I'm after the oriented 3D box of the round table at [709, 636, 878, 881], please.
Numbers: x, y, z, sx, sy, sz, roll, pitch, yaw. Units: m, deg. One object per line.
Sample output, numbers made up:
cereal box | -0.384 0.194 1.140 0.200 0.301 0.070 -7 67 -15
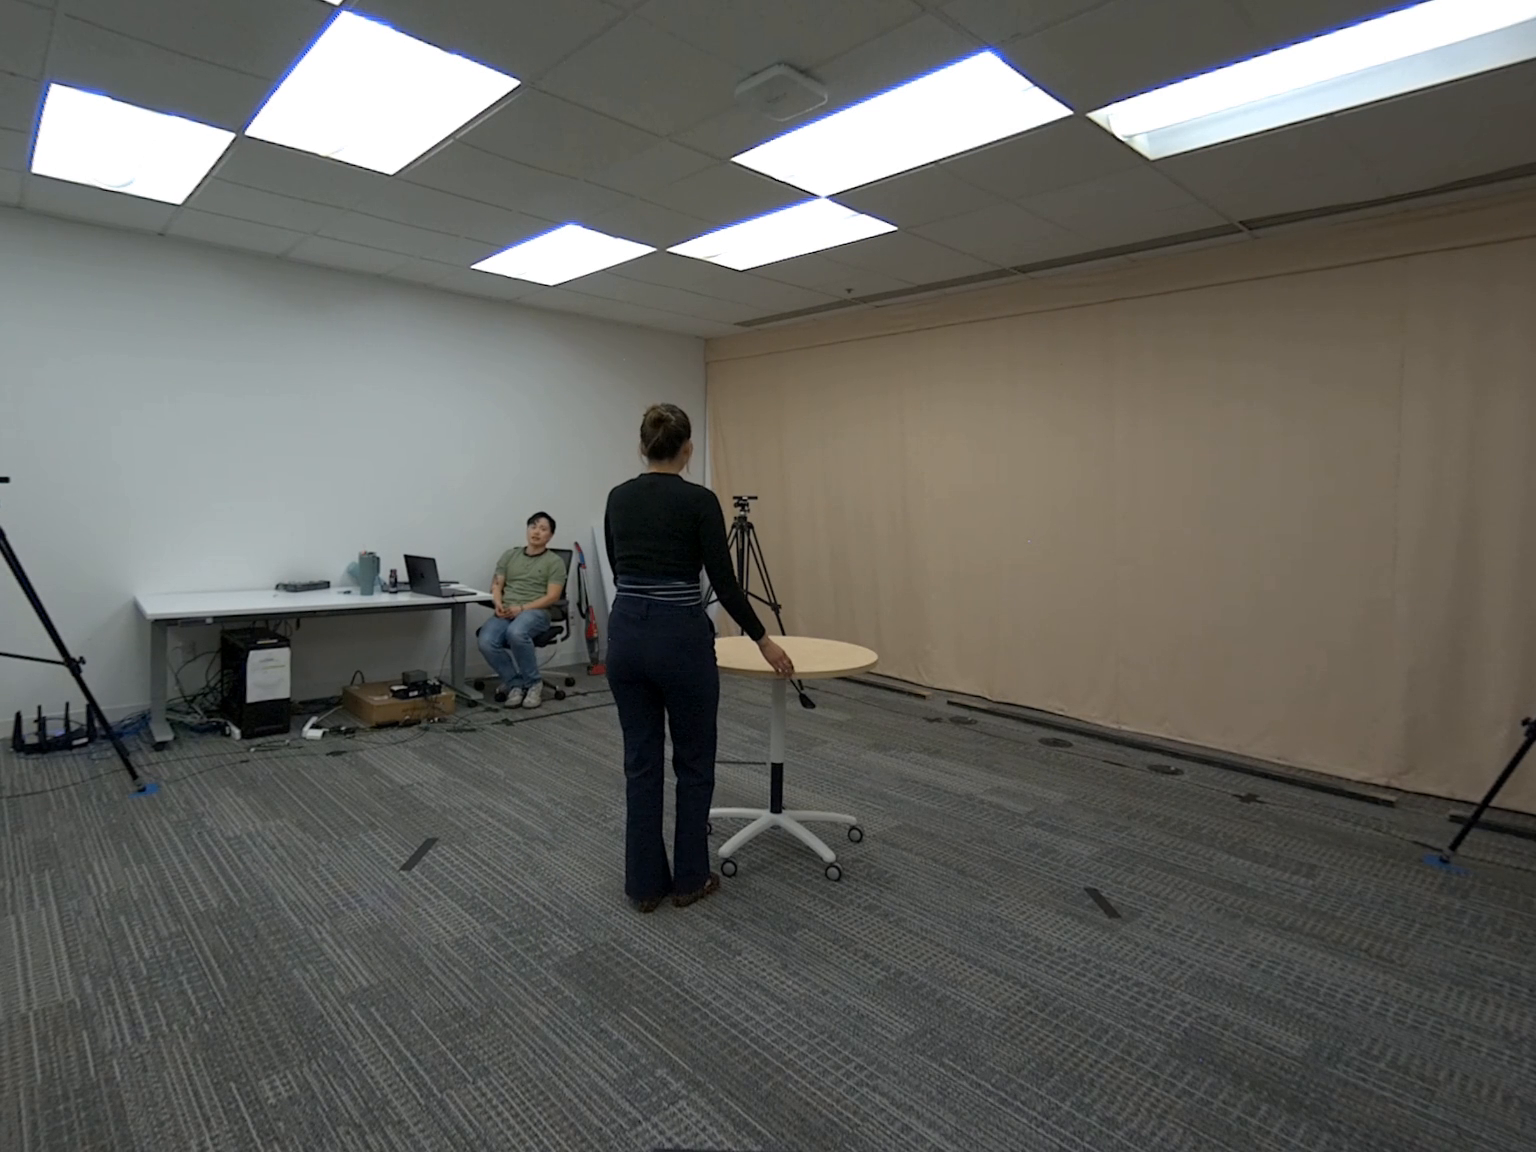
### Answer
round table | 0.032 0.694 3.347 0.763 0.792 0.766 1 4 -1
